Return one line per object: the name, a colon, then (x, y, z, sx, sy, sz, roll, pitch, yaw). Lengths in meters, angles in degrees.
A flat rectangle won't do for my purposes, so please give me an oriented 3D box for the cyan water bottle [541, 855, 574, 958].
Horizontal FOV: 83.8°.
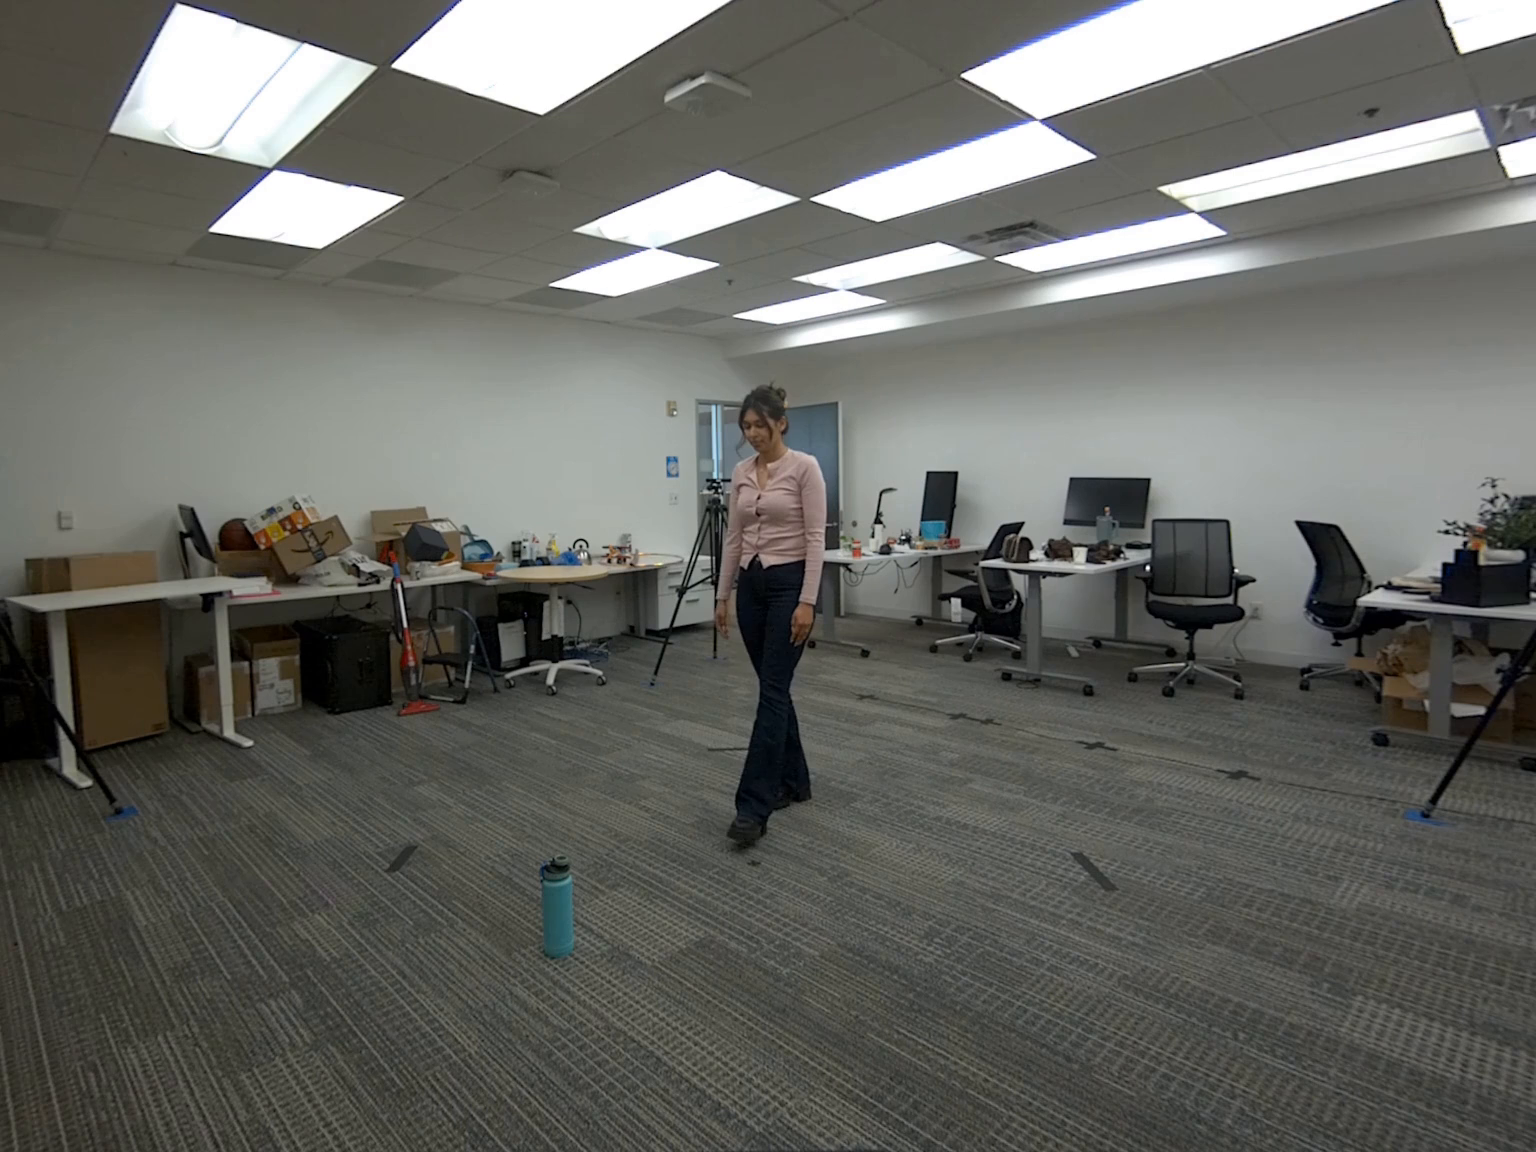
cyan water bottle: (-0.628, 0.982, 2.546, 0.092, 0.282, 0.093, -2, 5, -1)
